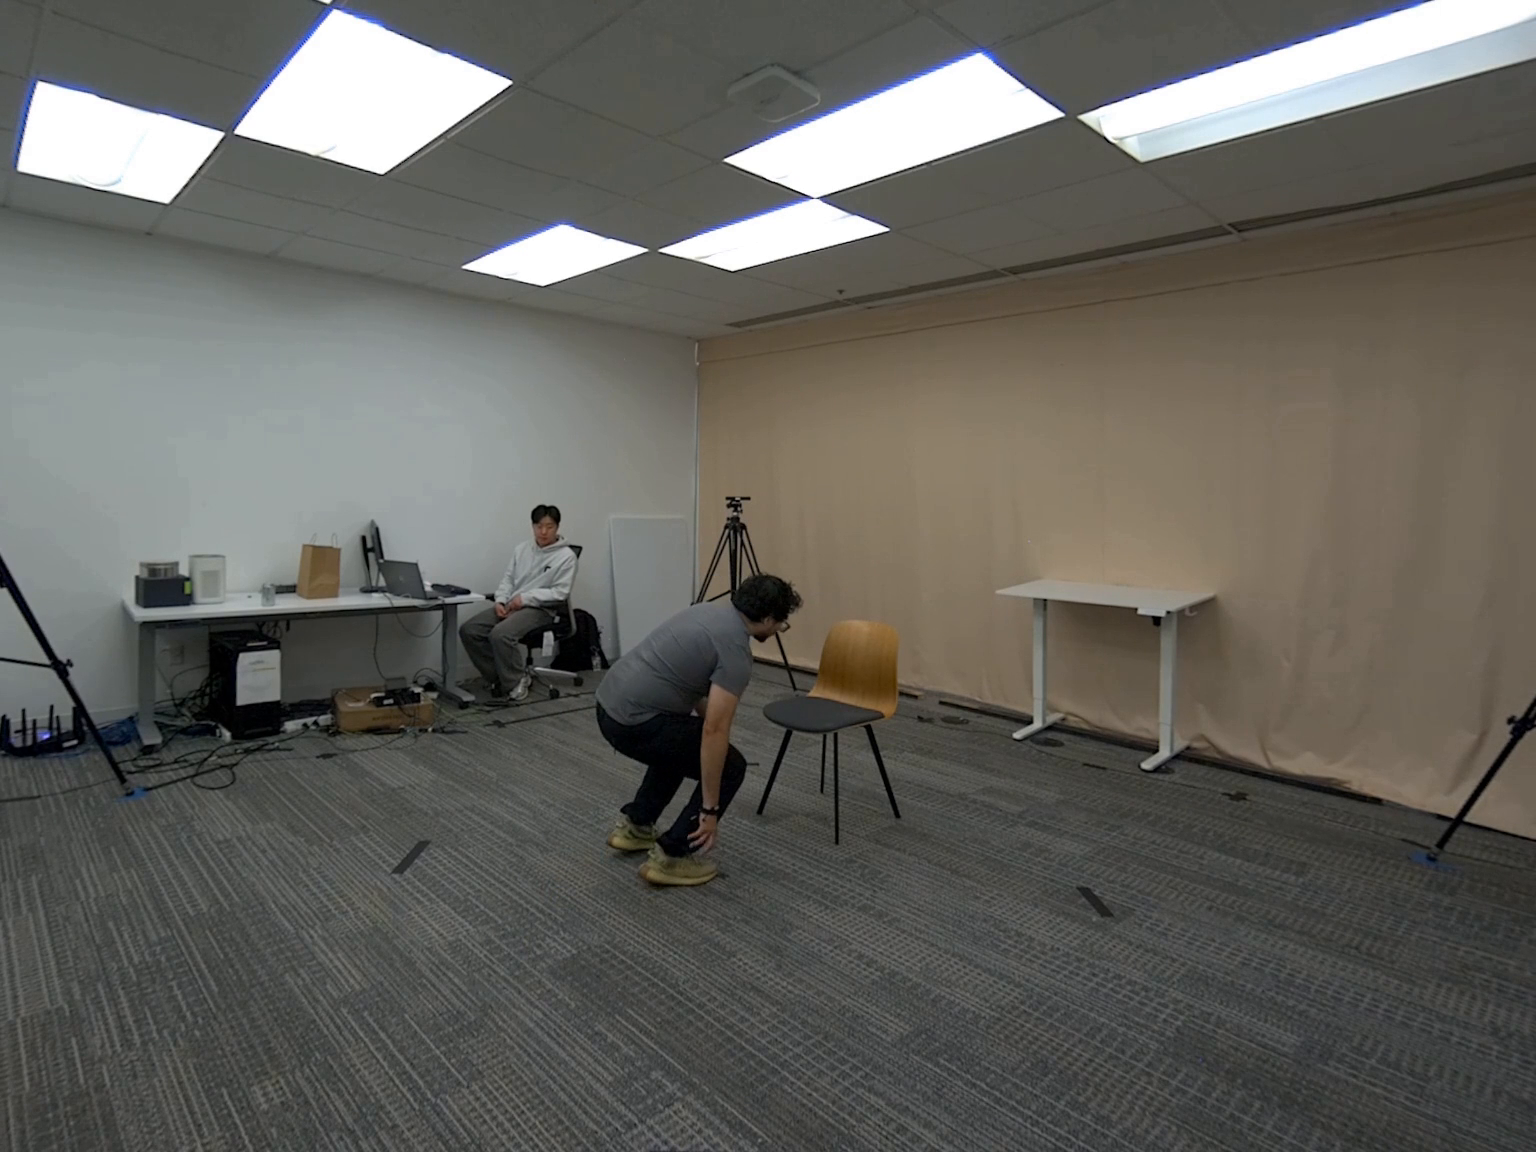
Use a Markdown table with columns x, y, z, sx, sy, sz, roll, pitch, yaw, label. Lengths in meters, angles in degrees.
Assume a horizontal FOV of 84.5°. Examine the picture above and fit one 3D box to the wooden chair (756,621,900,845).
| x | y | z | sx | sy | sz | roll | pitch | yaw | label |
| --- | --- | --- | --- | --- | --- | --- | --- | --- | --- |
| 0.268 | 0.637 | 3.691 | 0.490 | 0.877 | 0.510 | 5 | 0 | 44 | wooden chair |
